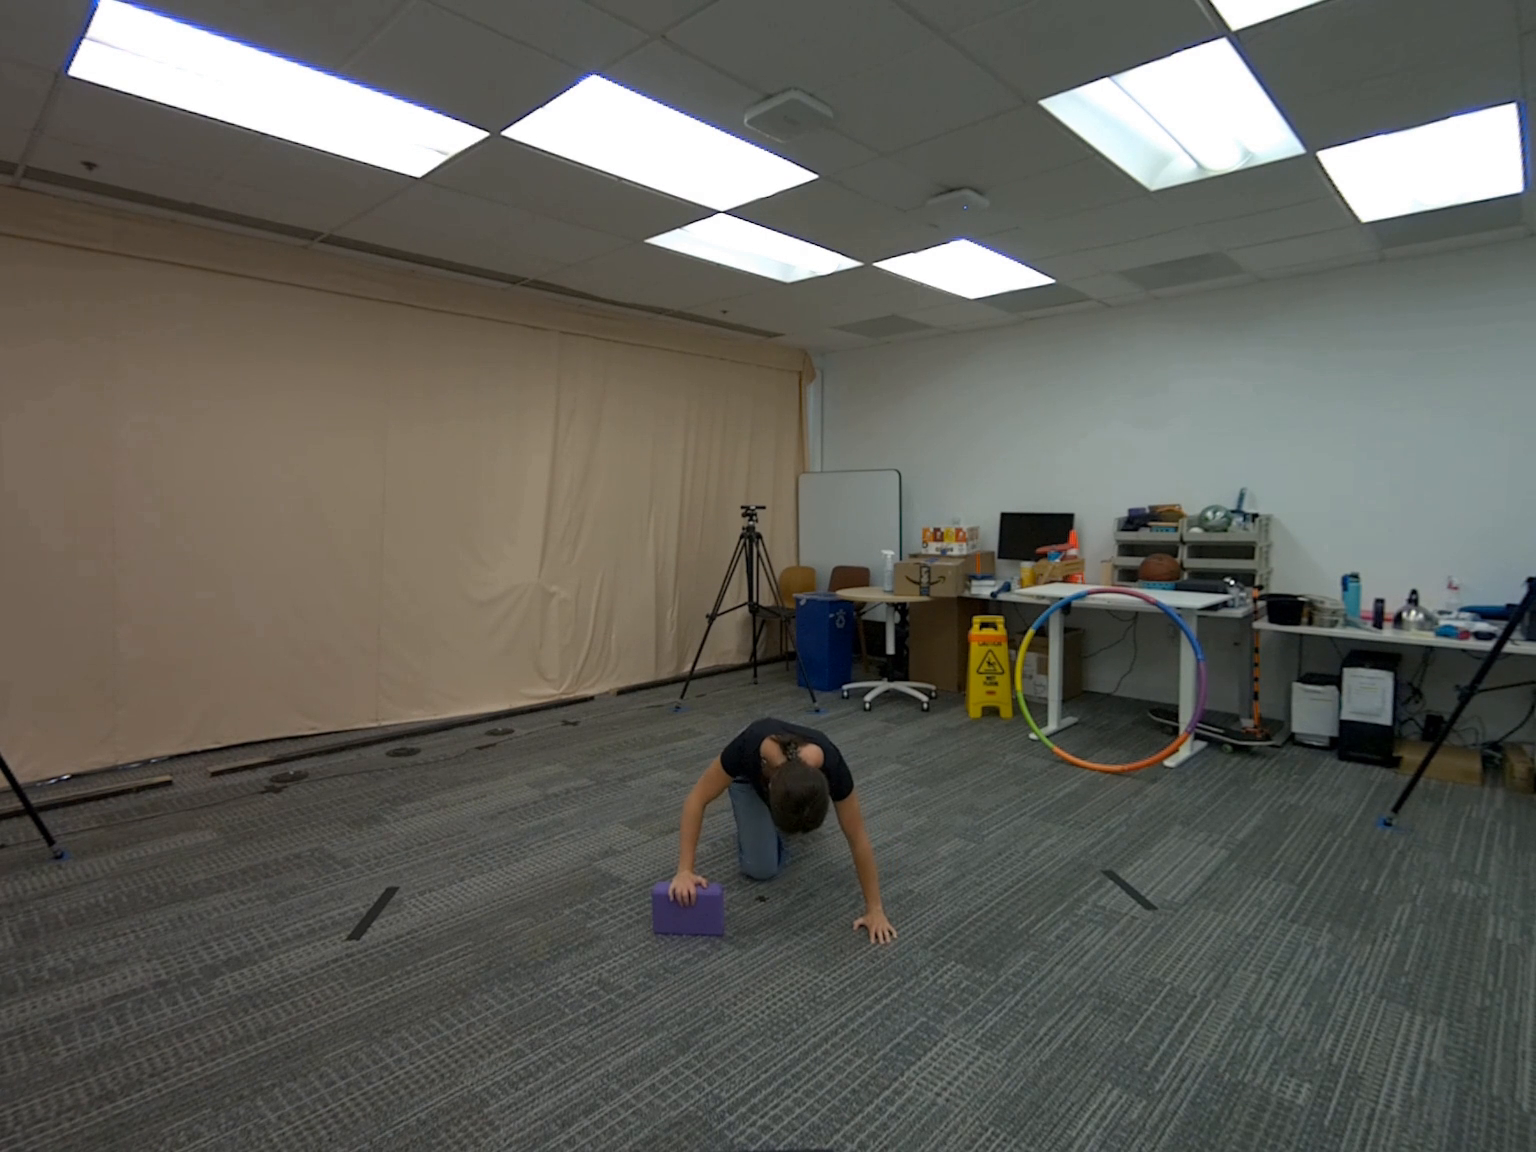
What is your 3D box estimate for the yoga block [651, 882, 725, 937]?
[{"bbox_3d":[-0.250,1.098,2.758,0.231,0.149,0.076,1,2,5],"label":"yoga block"}]
